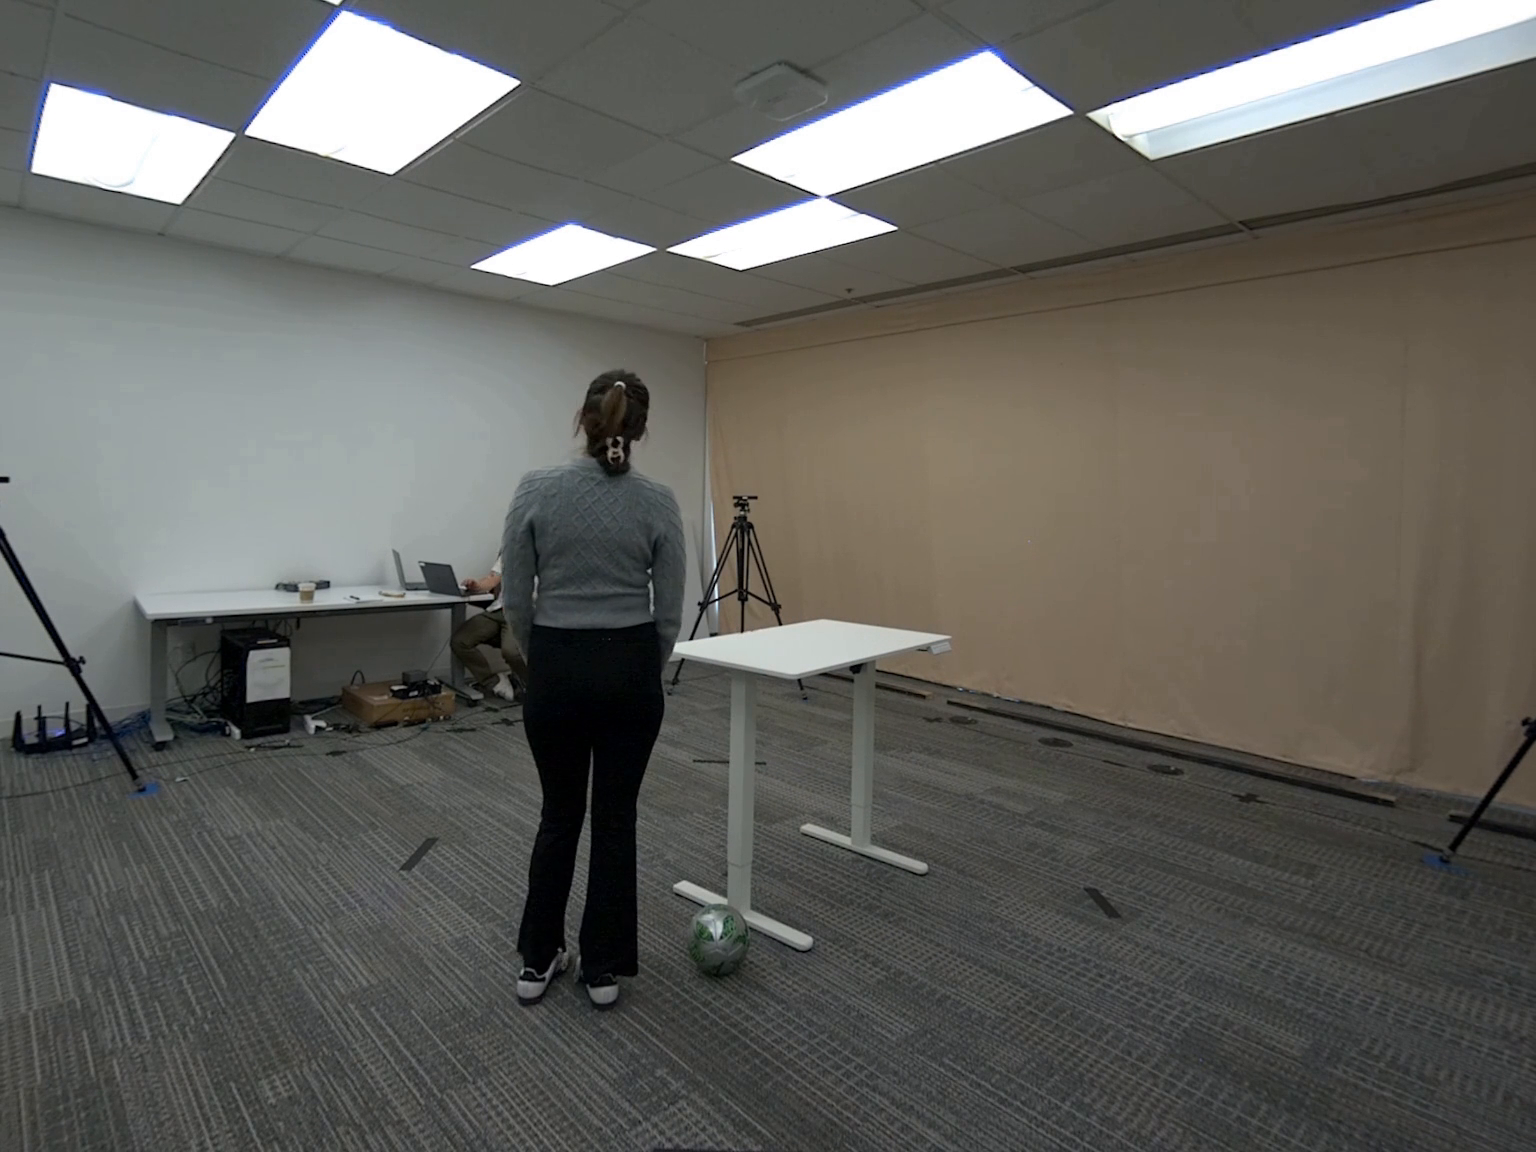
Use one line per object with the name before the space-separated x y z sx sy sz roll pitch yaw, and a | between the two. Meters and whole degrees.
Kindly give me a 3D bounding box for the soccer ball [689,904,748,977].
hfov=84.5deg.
soccer ball | -0.155 1.069 2.465 0.187 0.187 0.188 1 4 -1
